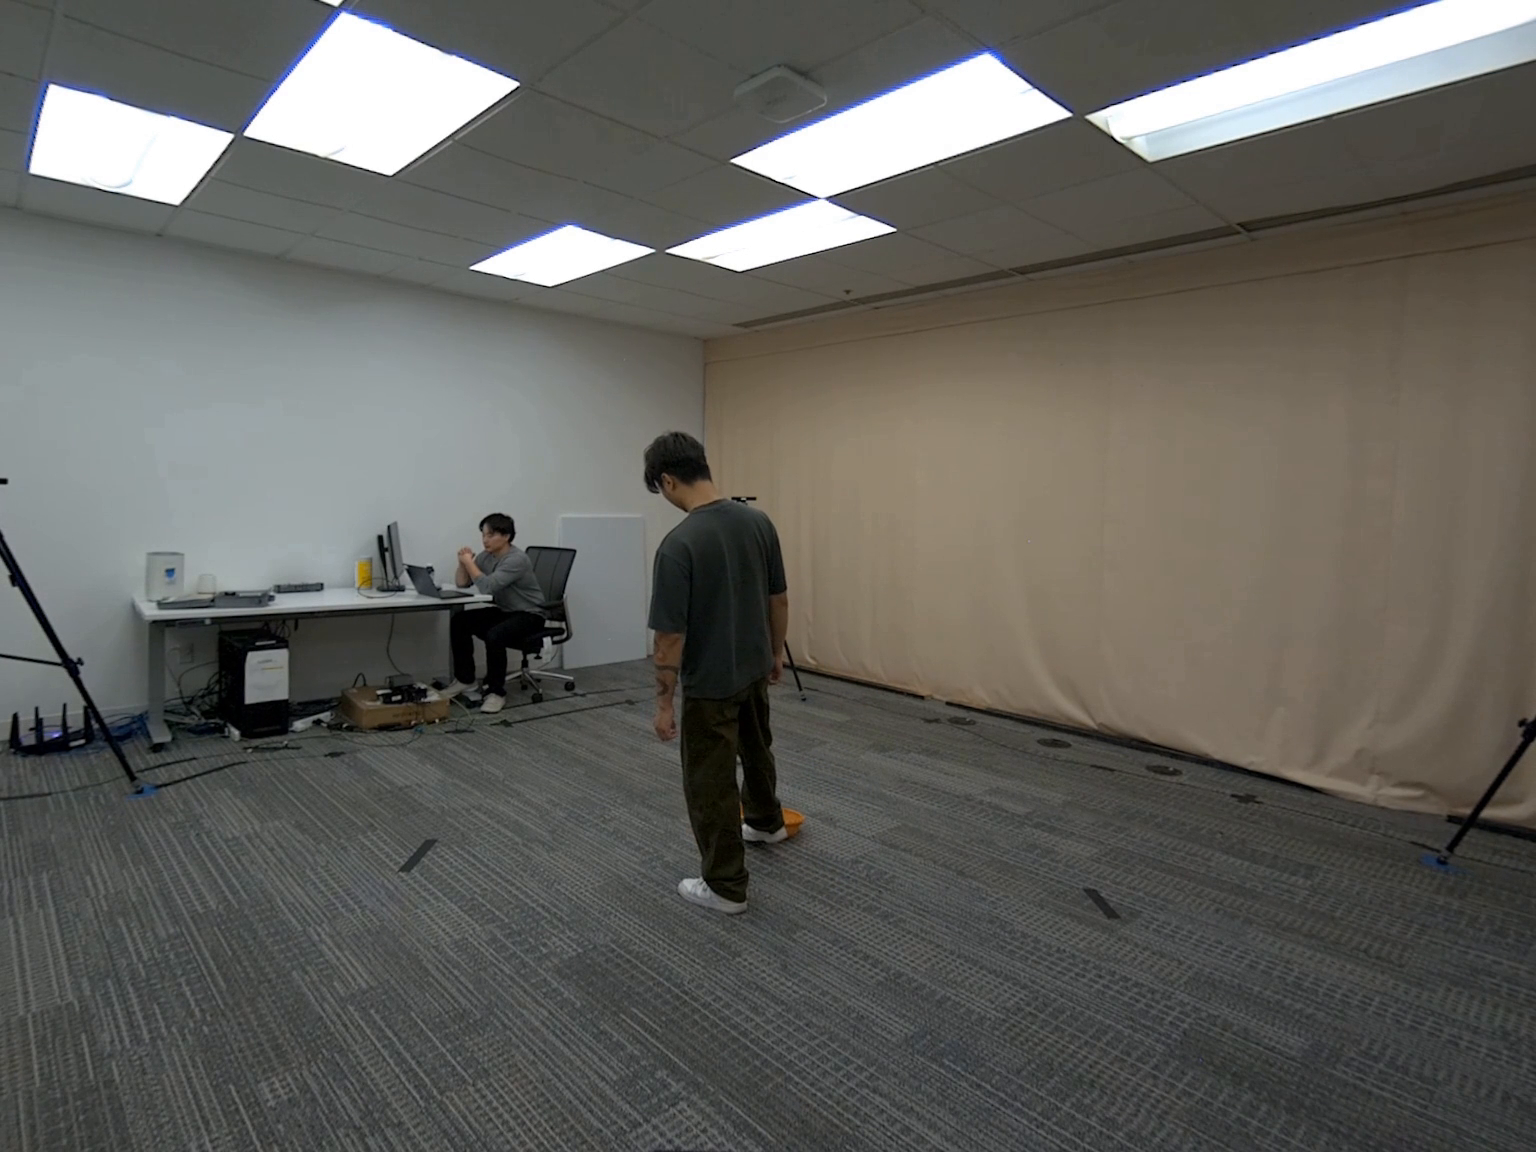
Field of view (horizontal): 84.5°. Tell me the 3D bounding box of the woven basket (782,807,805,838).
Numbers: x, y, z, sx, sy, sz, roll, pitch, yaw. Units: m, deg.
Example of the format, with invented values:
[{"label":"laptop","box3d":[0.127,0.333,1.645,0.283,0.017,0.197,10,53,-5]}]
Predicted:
[{"label":"woven basket","box3d":[-0.024,1.030,3.534,0.358,0.073,0.247,3,0,29]}]
